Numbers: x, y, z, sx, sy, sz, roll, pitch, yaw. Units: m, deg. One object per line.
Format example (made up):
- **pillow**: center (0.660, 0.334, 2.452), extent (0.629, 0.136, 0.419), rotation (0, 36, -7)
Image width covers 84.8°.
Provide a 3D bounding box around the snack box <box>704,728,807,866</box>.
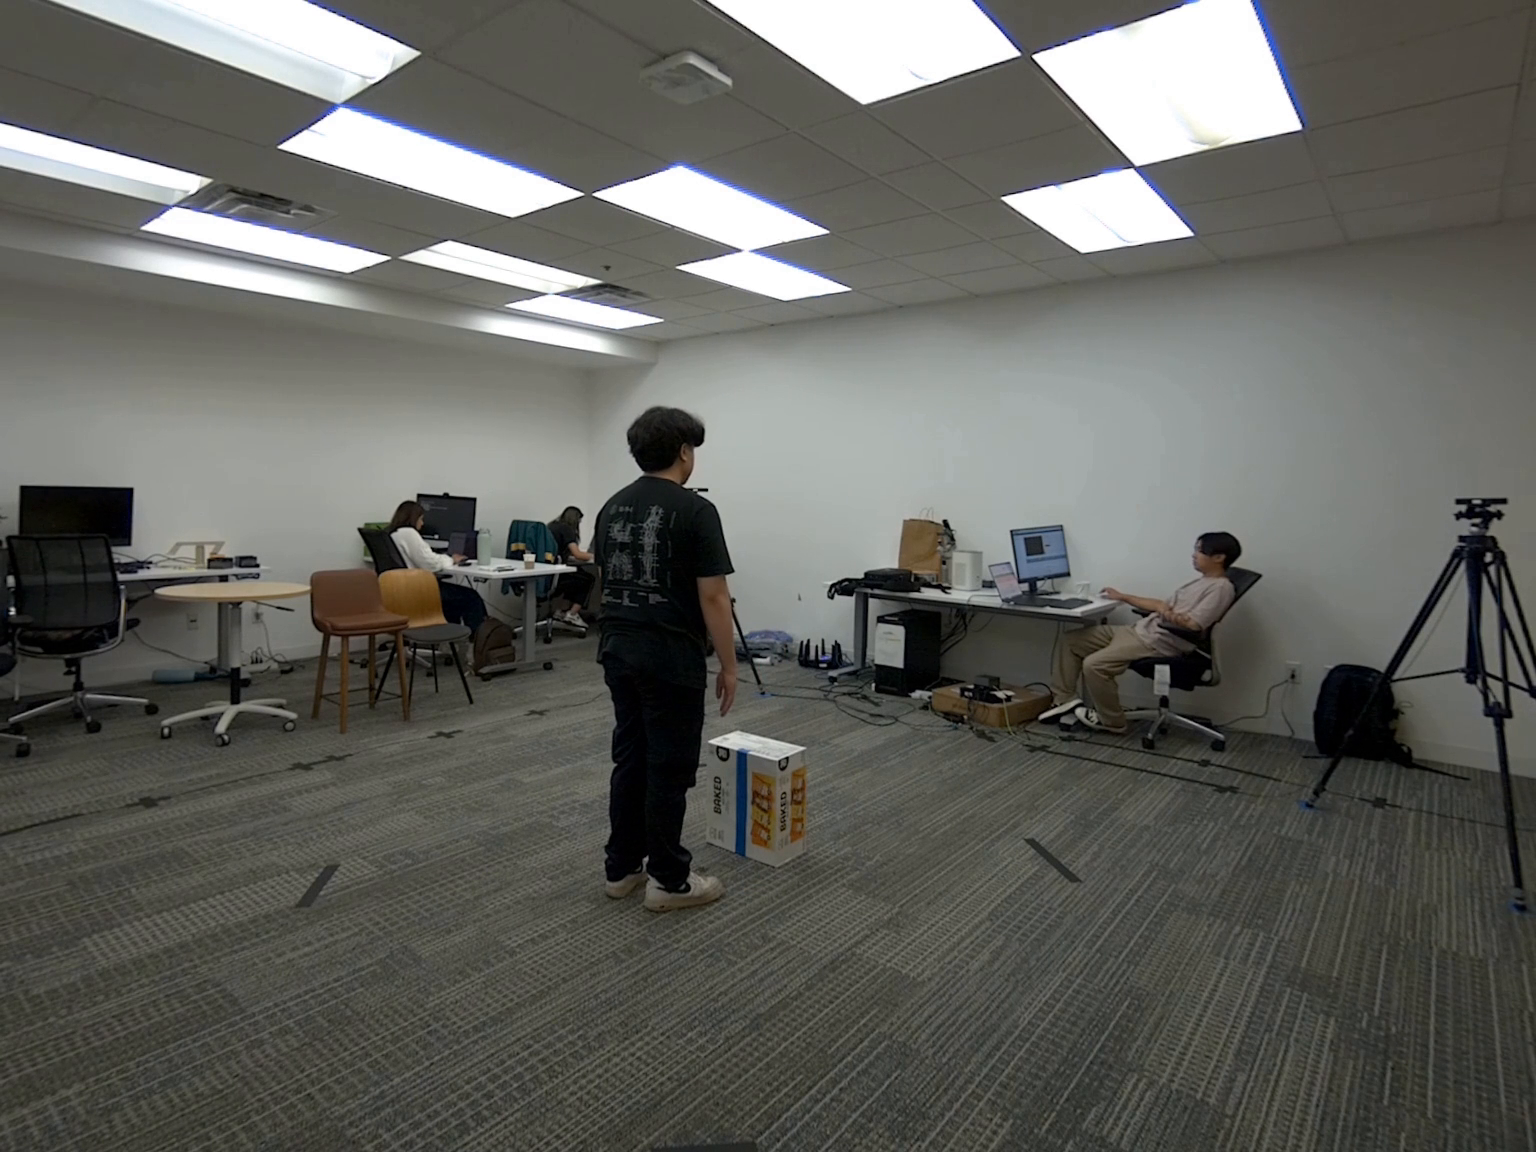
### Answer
- **snack box**: center (-0.053, 0.849, 3.292), extent (0.351, 0.404, 0.199), rotation (4, 4, 38)
